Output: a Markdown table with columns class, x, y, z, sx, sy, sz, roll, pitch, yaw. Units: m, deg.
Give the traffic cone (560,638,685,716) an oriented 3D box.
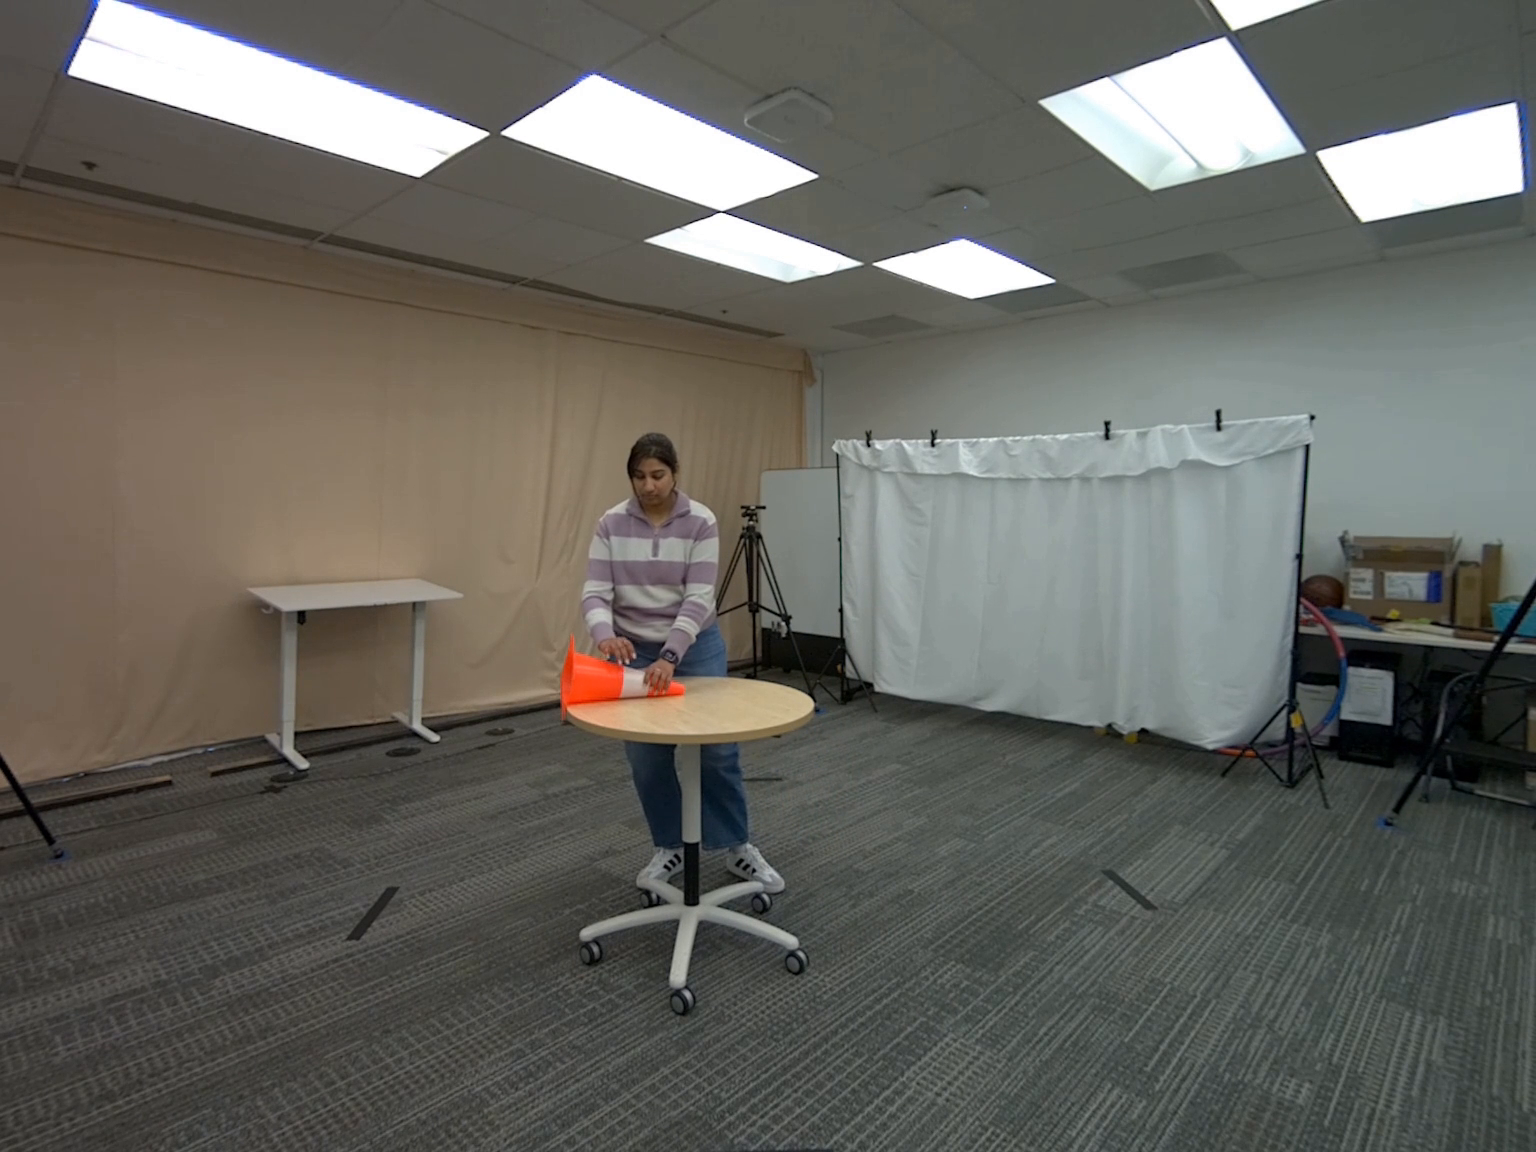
| class | x | y | z | sx | sy | sz | roll | pitch | yaw |
| --- | --- | --- | --- | --- | --- | --- | --- | --- | --- |
| traffic cone | -0.445 | 0.338 | 2.663 | 0.376 | 0.204 | 0.209 | 9 | 32 | -18 |
